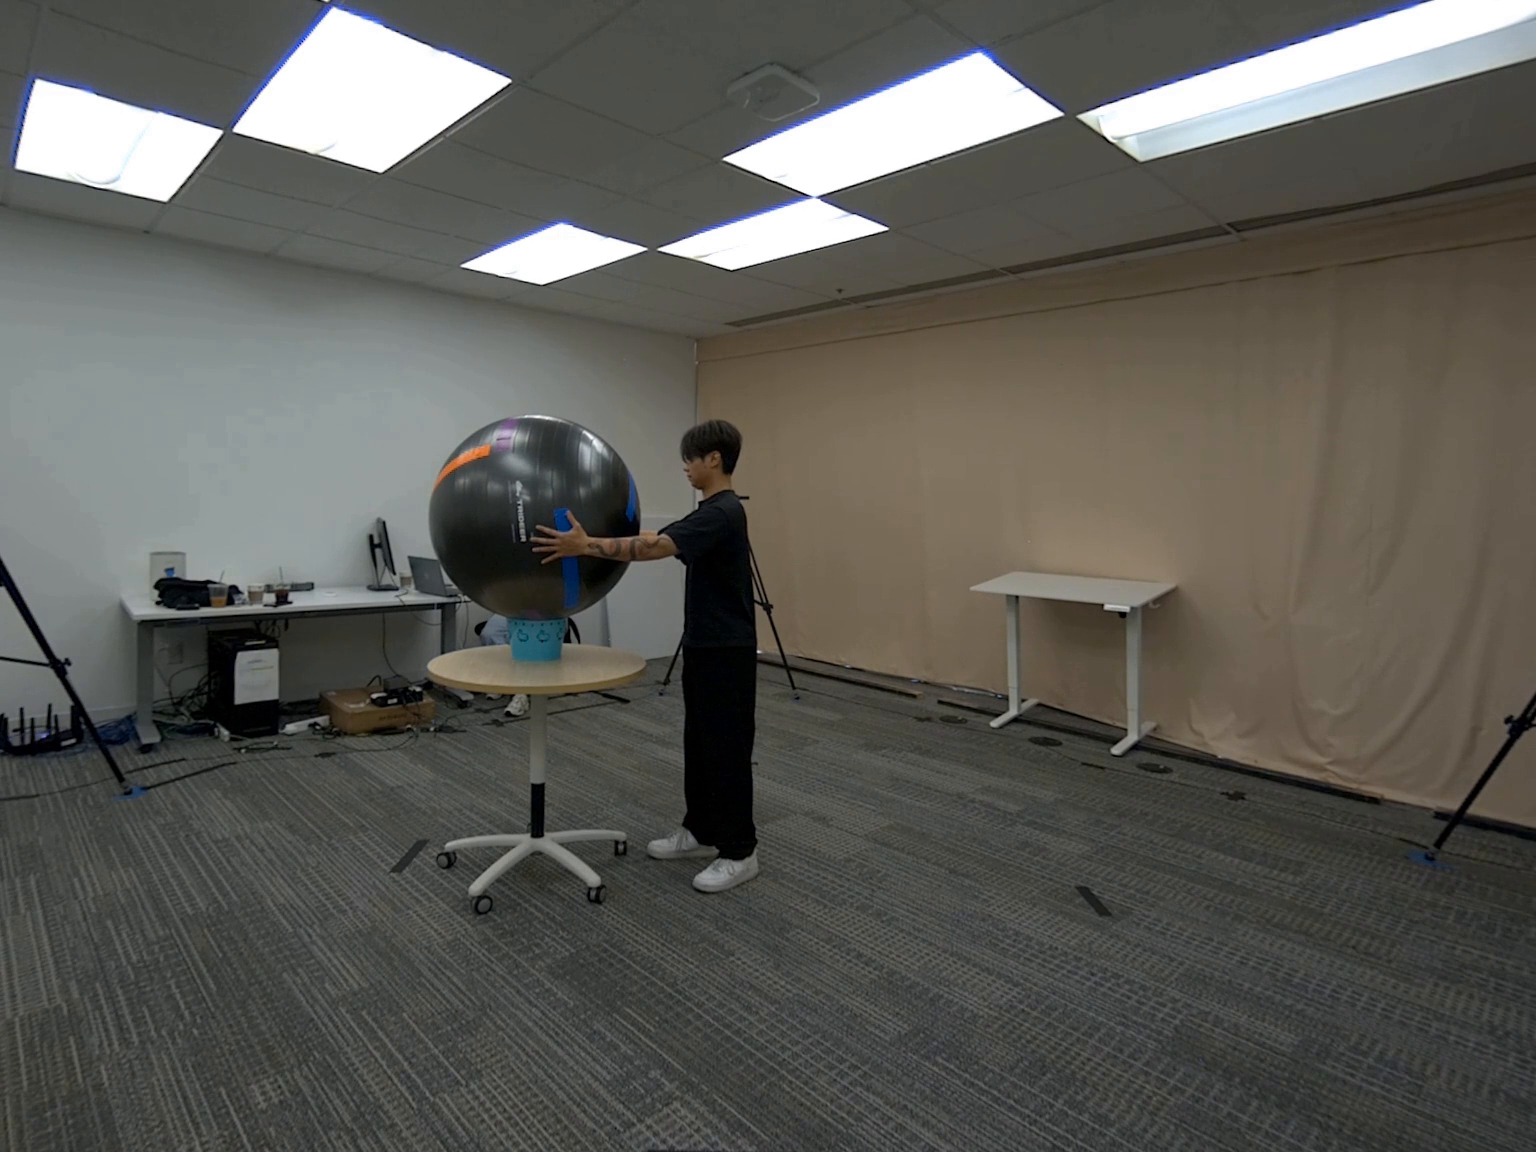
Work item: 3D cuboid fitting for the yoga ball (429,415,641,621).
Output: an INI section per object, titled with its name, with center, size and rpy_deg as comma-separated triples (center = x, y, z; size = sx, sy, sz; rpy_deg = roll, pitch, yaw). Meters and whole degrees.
[yoga ball]
center = -0.862, -0.208, 3.112
size = 0.757, 0.756, 0.761
rpy_deg = 1, 4, -1
